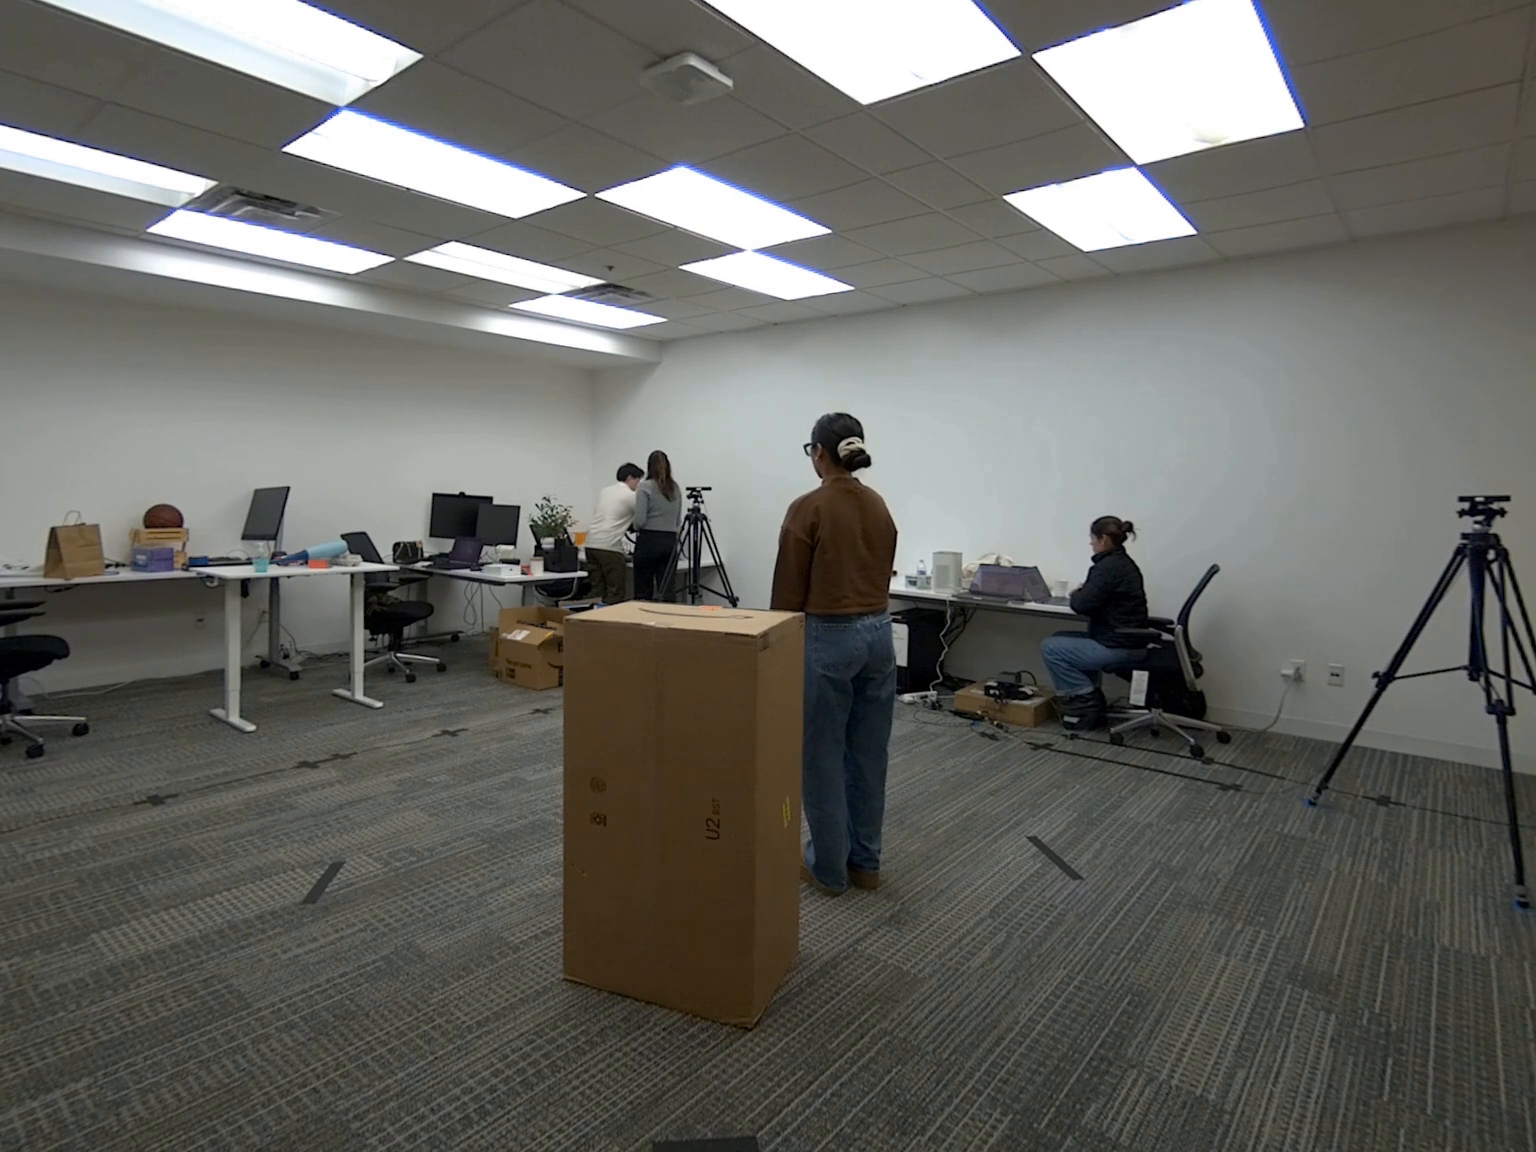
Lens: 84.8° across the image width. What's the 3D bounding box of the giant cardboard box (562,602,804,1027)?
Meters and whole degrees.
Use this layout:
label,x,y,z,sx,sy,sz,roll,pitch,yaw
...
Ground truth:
label,x,y,z,sx,sy,sz,roll,pitch,yaw
giant cardboard box,-0.244,0.622,2.450,0.590,1.023,0.418,2,3,20
